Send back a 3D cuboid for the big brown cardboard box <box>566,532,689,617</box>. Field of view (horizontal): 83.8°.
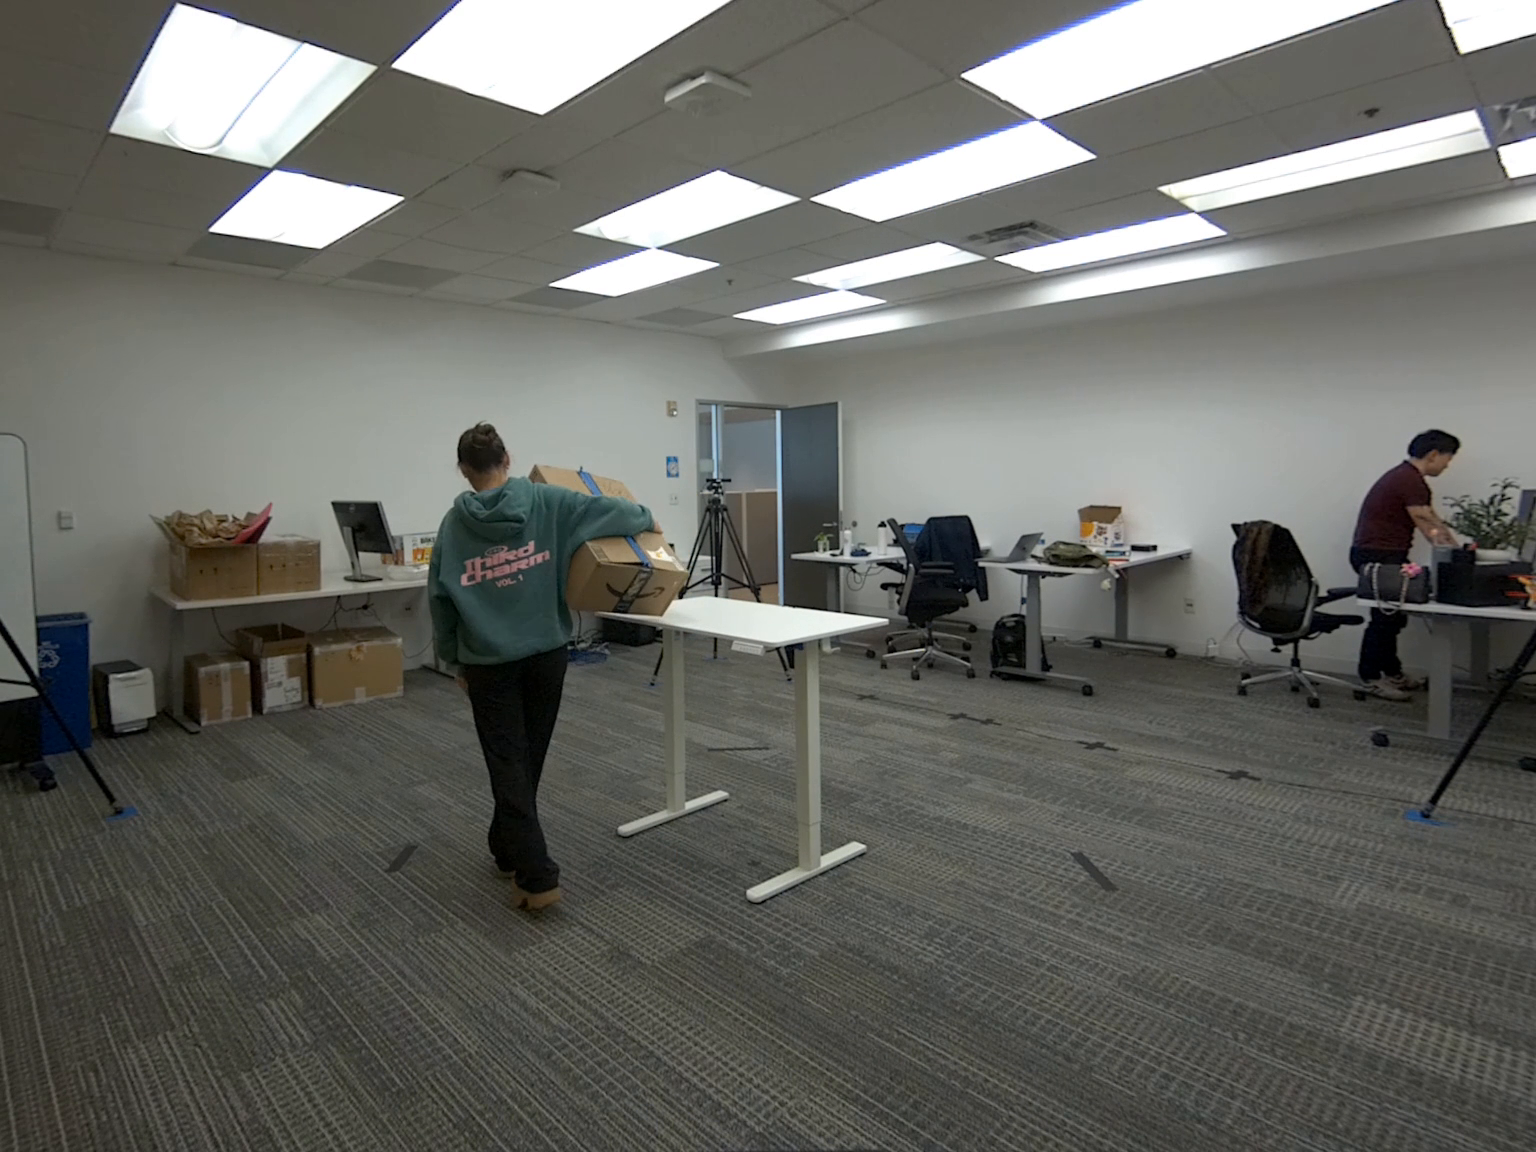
[{"bbox_3d":[-0.616,-0.129,3.140,0.404,0.232,0.611,7,33,-47],"label":"big brown cardboard box"}]
